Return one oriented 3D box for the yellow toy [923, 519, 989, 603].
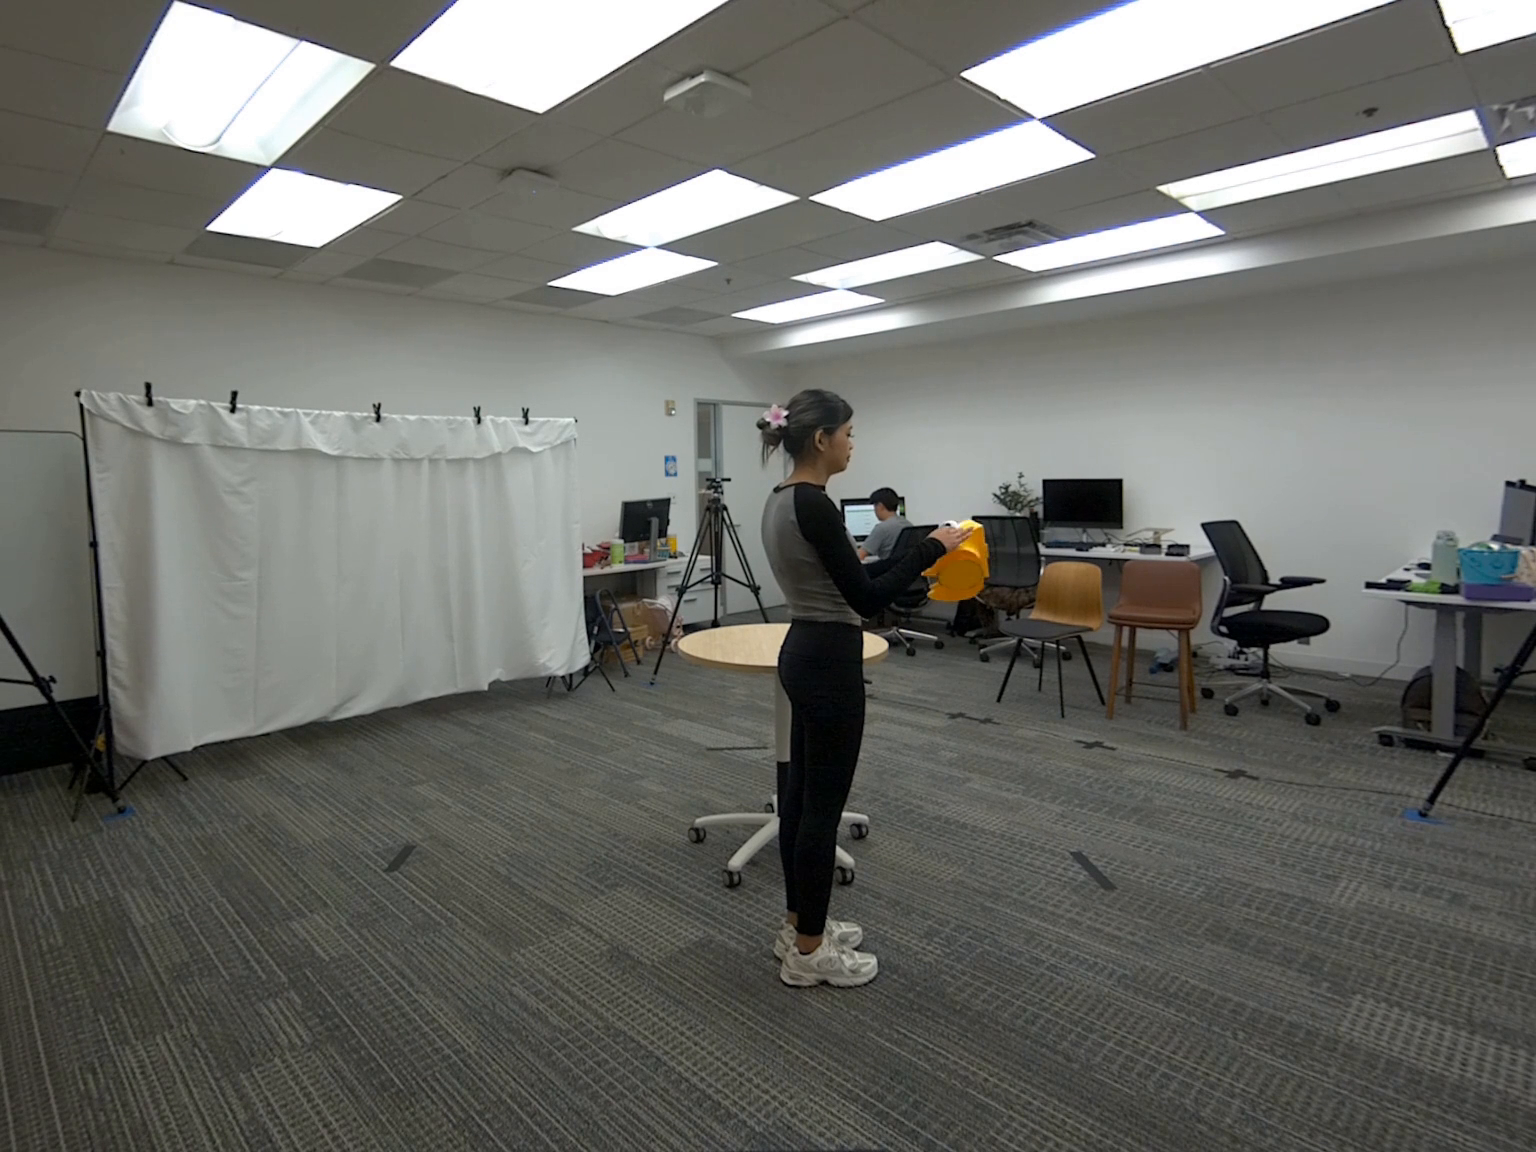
[{"bbox_3d":[0.540,-0.080,2.478,0.195,0.197,0.236,-9,43,14],"label":"yellow toy"}]
